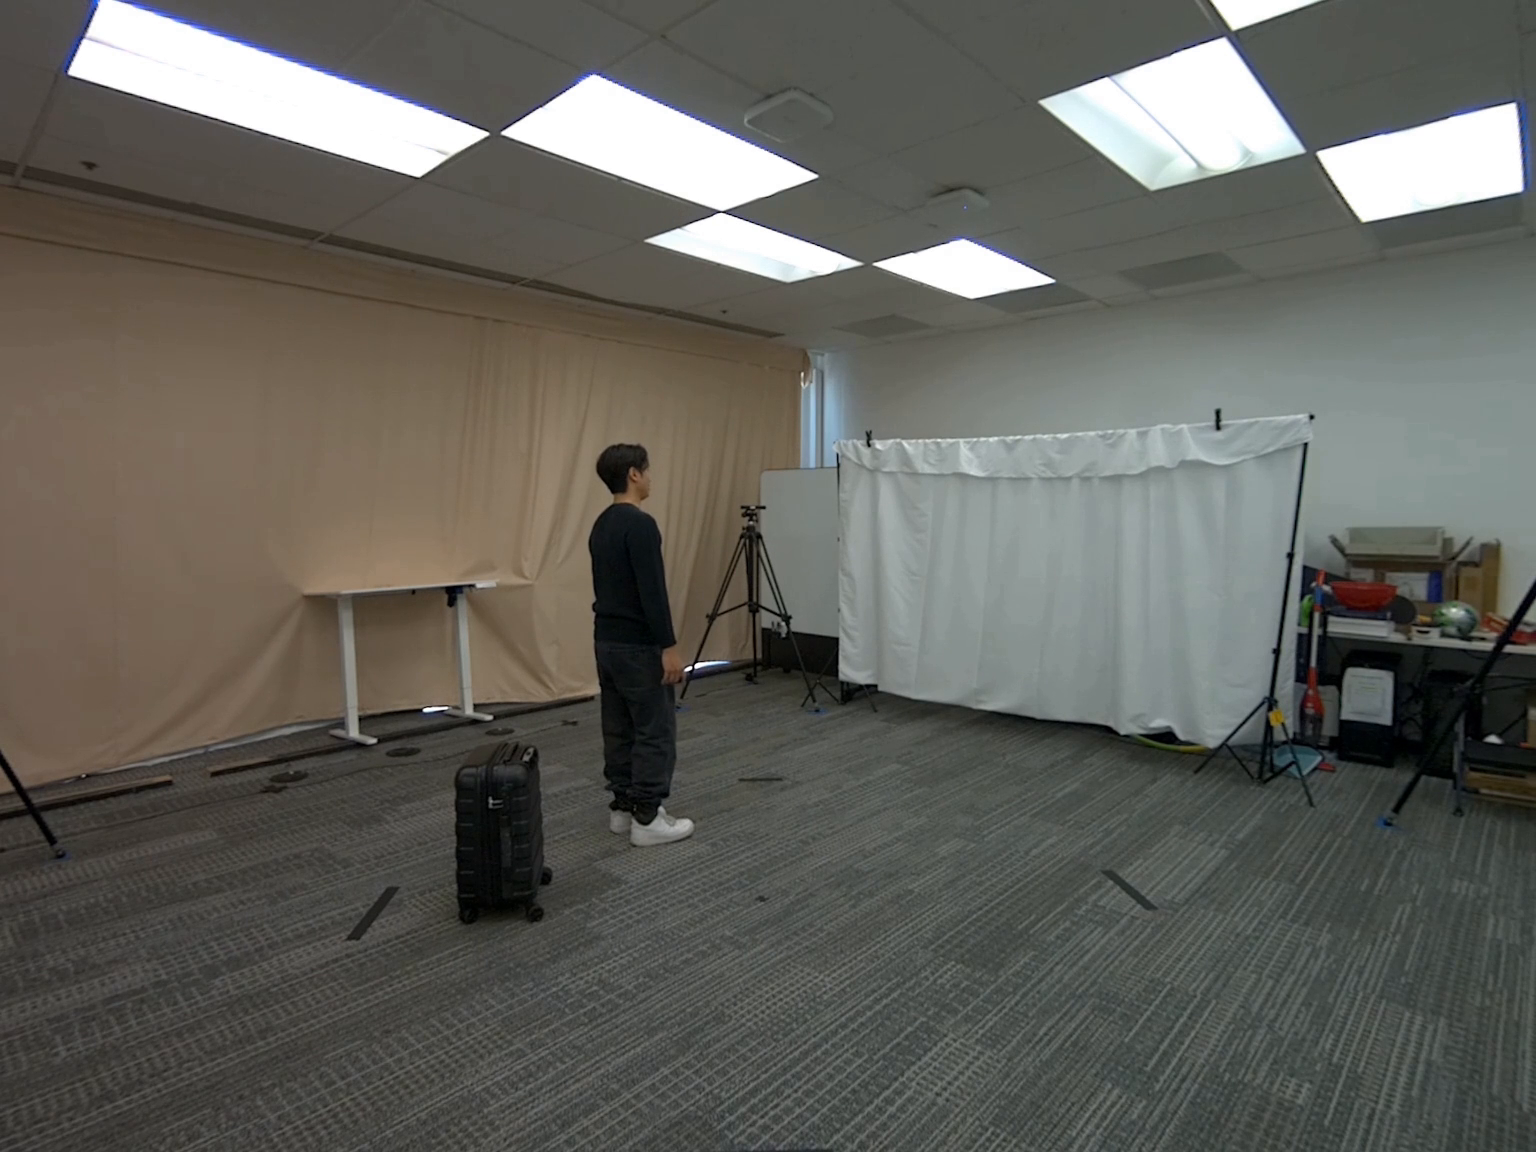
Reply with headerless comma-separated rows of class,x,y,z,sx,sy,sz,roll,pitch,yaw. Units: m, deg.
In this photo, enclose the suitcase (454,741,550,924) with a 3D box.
suitcase,-0.949,0.882,2.953,0.247,0.548,0.378,-2,4,-5
